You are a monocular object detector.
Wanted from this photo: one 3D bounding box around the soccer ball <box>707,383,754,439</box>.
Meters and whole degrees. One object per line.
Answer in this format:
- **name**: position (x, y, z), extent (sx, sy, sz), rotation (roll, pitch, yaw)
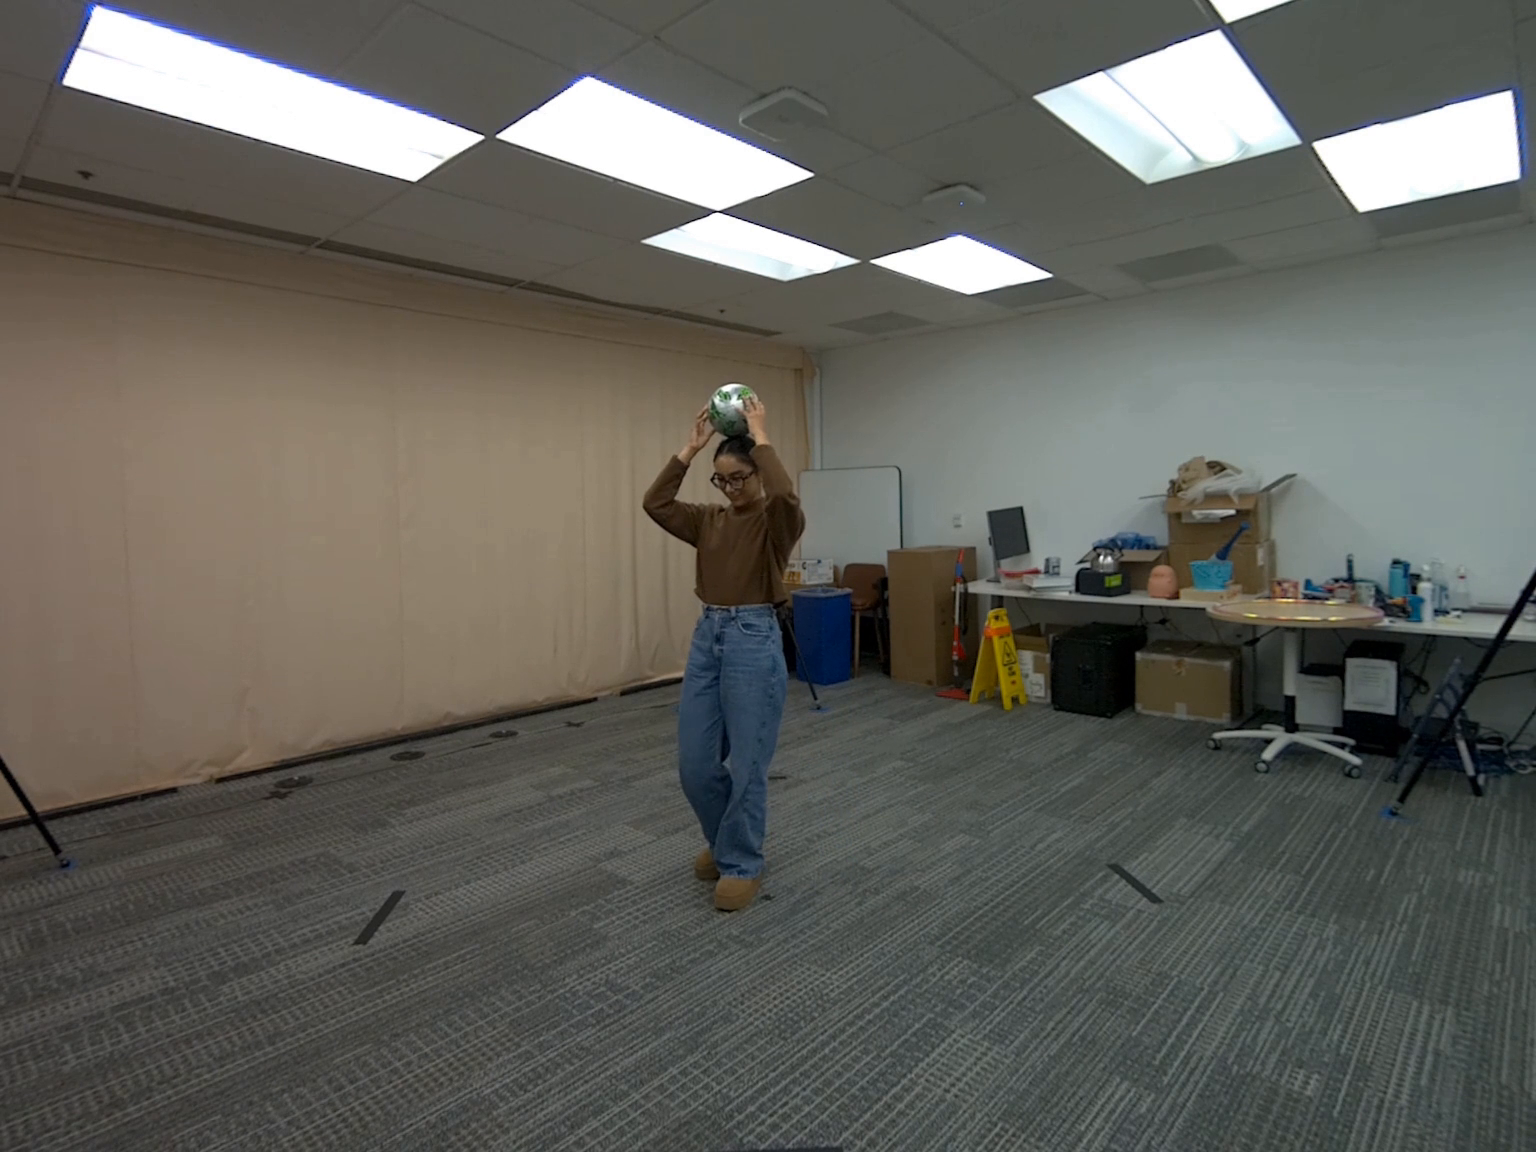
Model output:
- **soccer ball**: position (-0.113, -0.574, 2.929), extent (0.187, 0.187, 0.188), rotation (-1, 4, -2)
